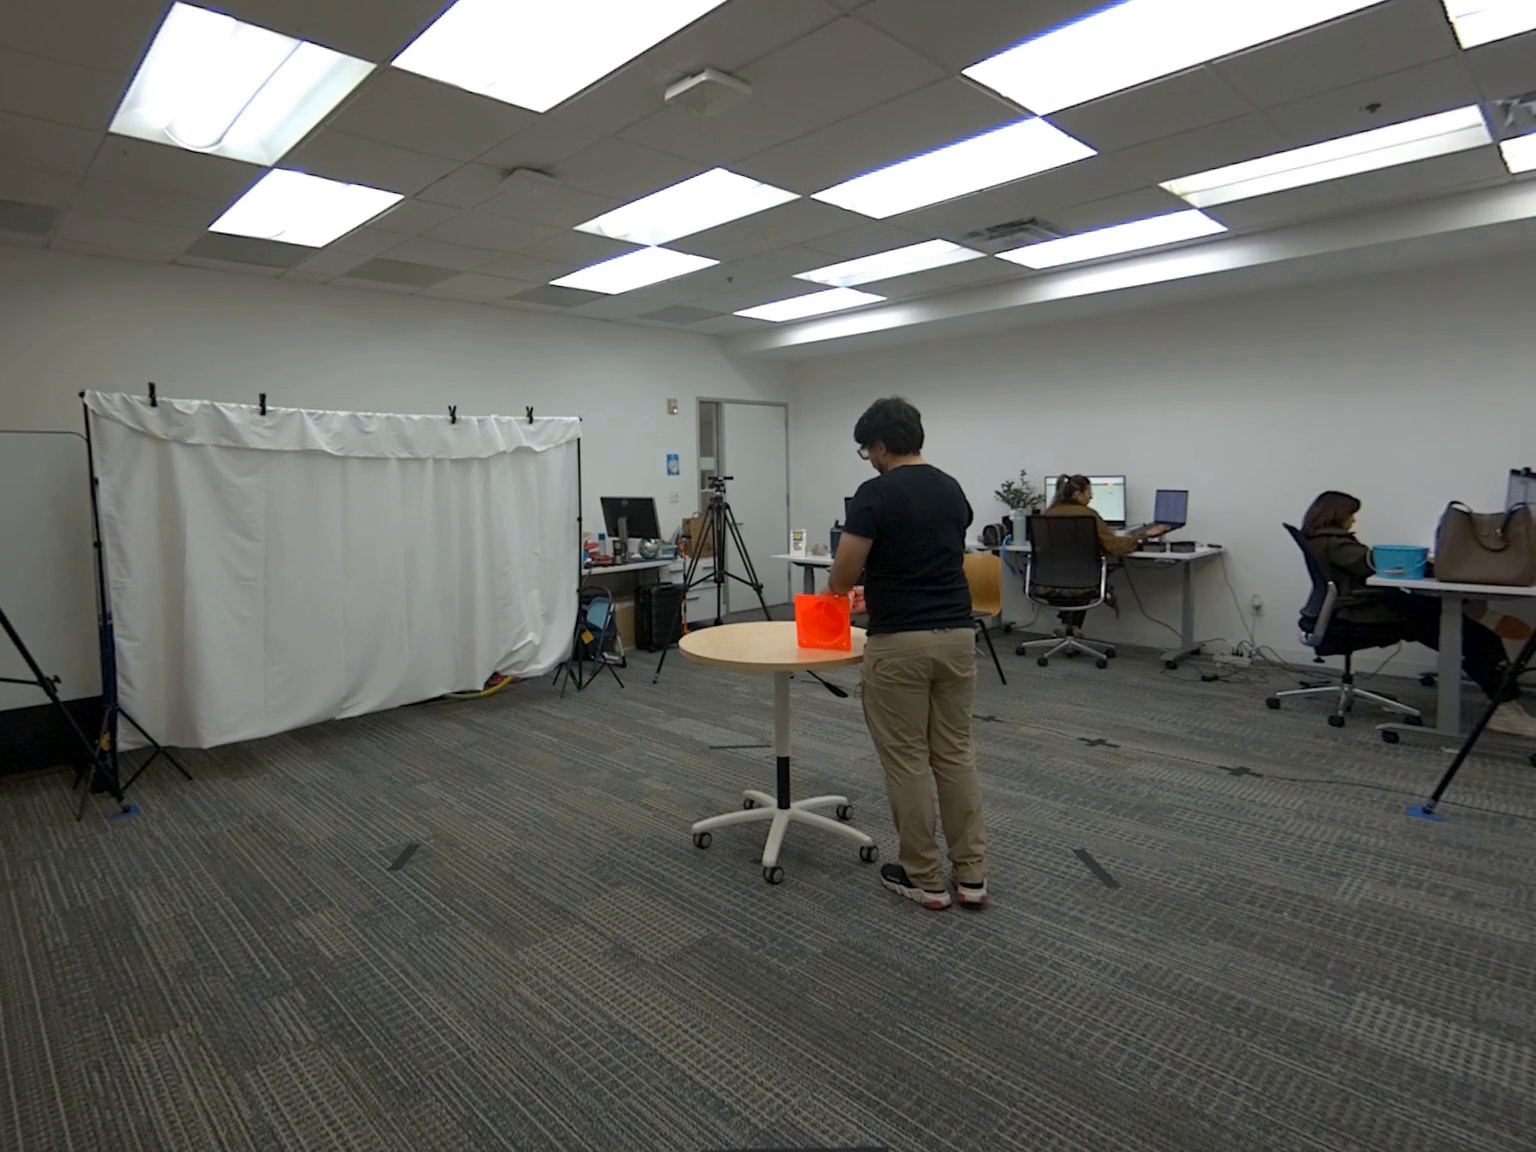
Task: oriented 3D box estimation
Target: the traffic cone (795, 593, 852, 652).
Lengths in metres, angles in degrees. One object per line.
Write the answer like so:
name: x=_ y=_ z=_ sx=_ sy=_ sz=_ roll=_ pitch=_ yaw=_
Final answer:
traffic cone: x=0.266 y=0.120 z=3.165 sx=0.209 sy=0.201 sz=0.380 roll=1 pitch=14 yaw=22
